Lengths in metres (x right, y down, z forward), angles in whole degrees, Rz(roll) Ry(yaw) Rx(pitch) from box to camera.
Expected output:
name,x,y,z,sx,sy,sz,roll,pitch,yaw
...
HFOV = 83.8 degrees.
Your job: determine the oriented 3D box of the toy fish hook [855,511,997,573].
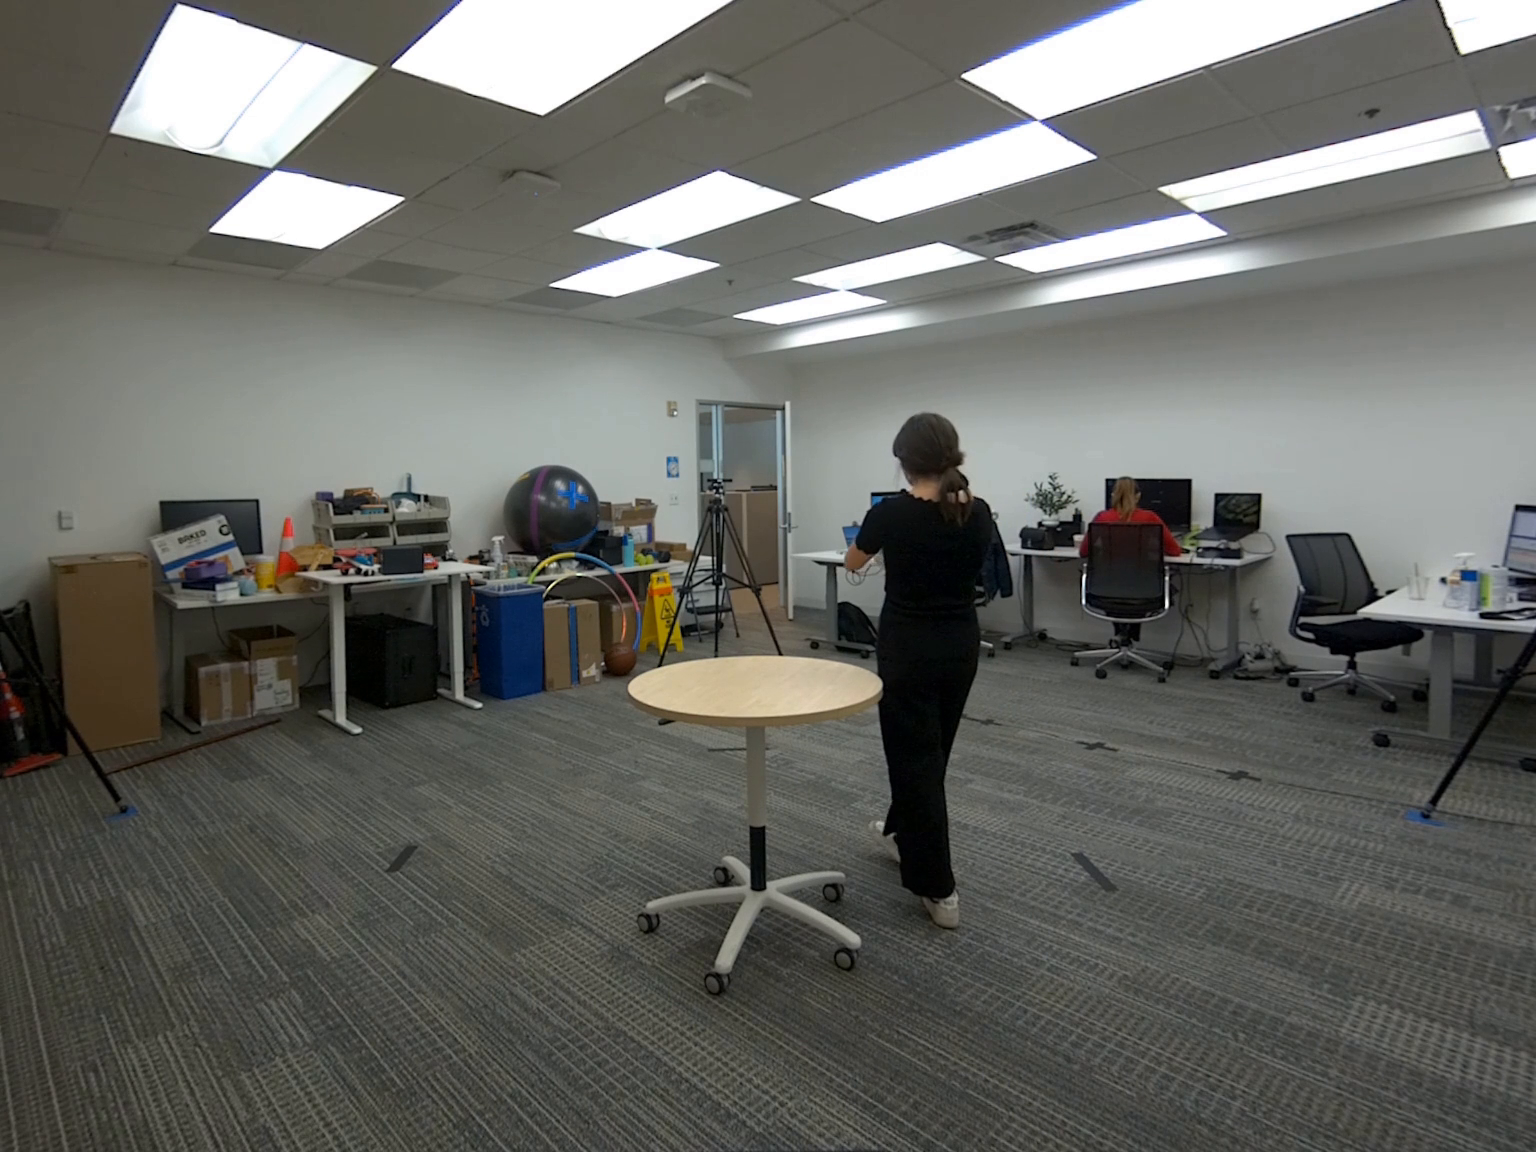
name,x,y,z,sx,sy,sz,roll,pitch,yaw
toy fish hook,0.626,-0.105,3.097,0.504,0.232,0.047,-19,-36,-7
